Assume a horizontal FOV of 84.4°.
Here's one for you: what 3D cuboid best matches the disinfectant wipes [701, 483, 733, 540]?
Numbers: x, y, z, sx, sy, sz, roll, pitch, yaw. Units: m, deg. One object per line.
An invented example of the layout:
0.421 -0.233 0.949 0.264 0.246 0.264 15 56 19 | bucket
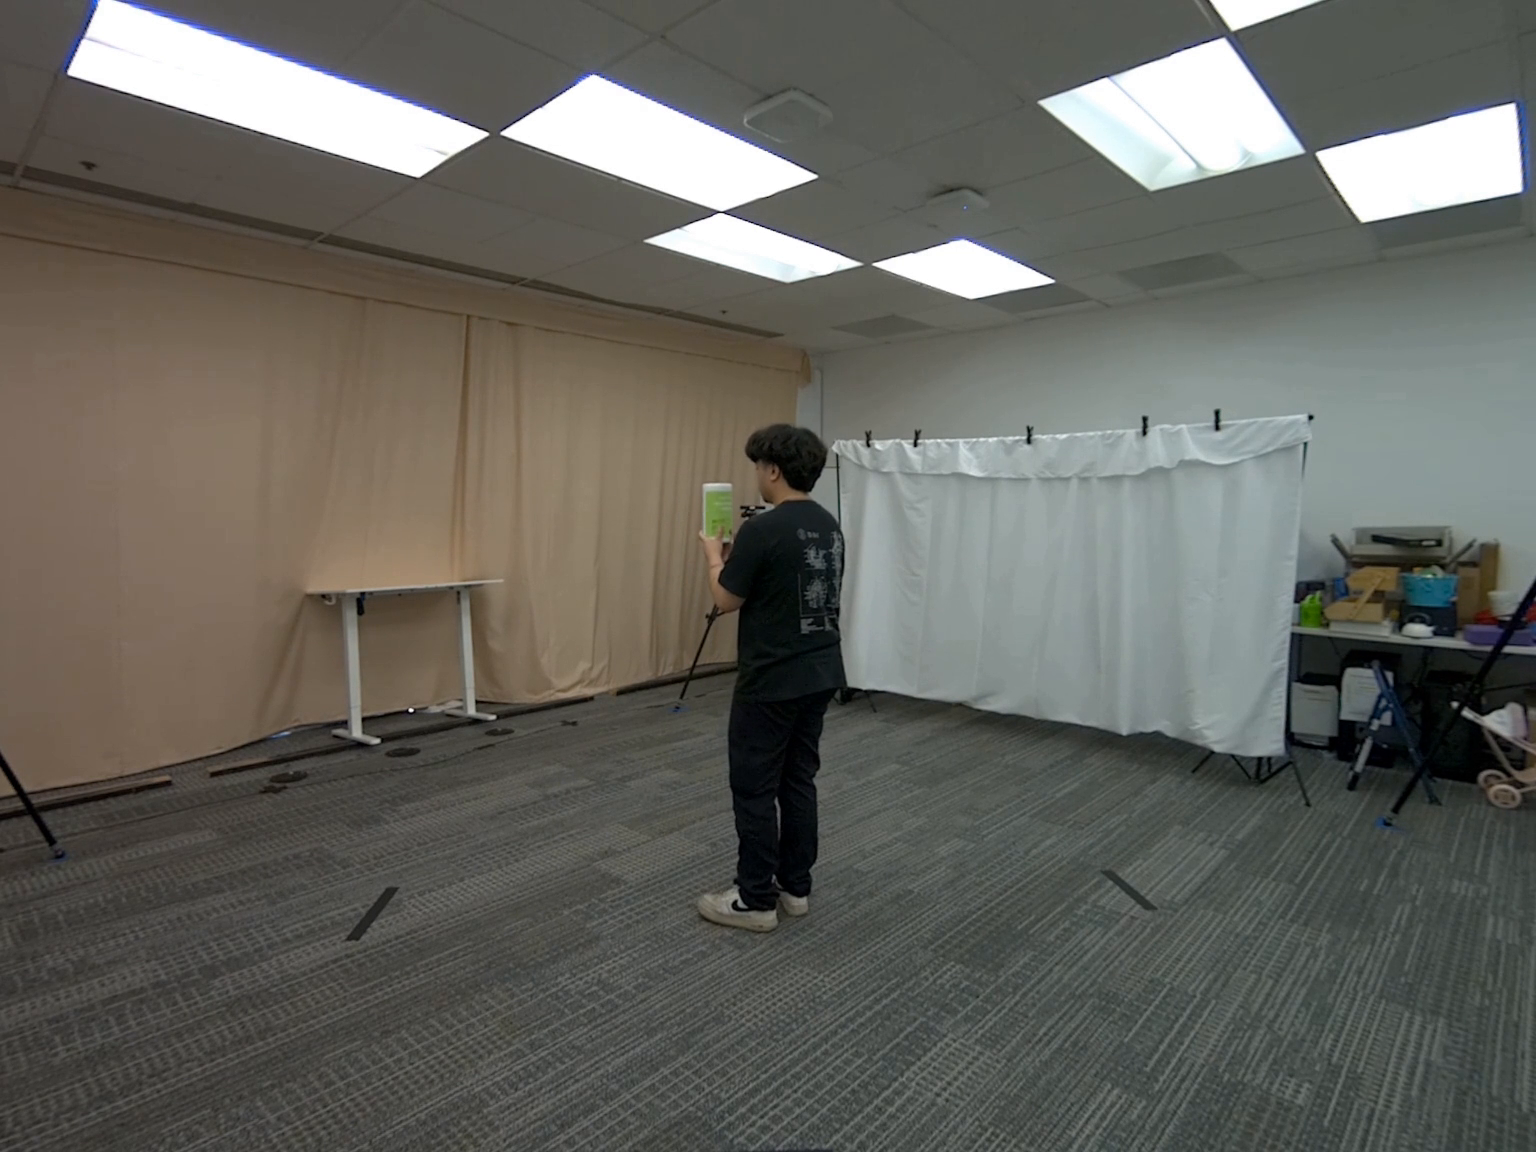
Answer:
-0.187 -0.228 3.102 0.118 0.216 0.118 -4 6 -1 | disinfectant wipes
